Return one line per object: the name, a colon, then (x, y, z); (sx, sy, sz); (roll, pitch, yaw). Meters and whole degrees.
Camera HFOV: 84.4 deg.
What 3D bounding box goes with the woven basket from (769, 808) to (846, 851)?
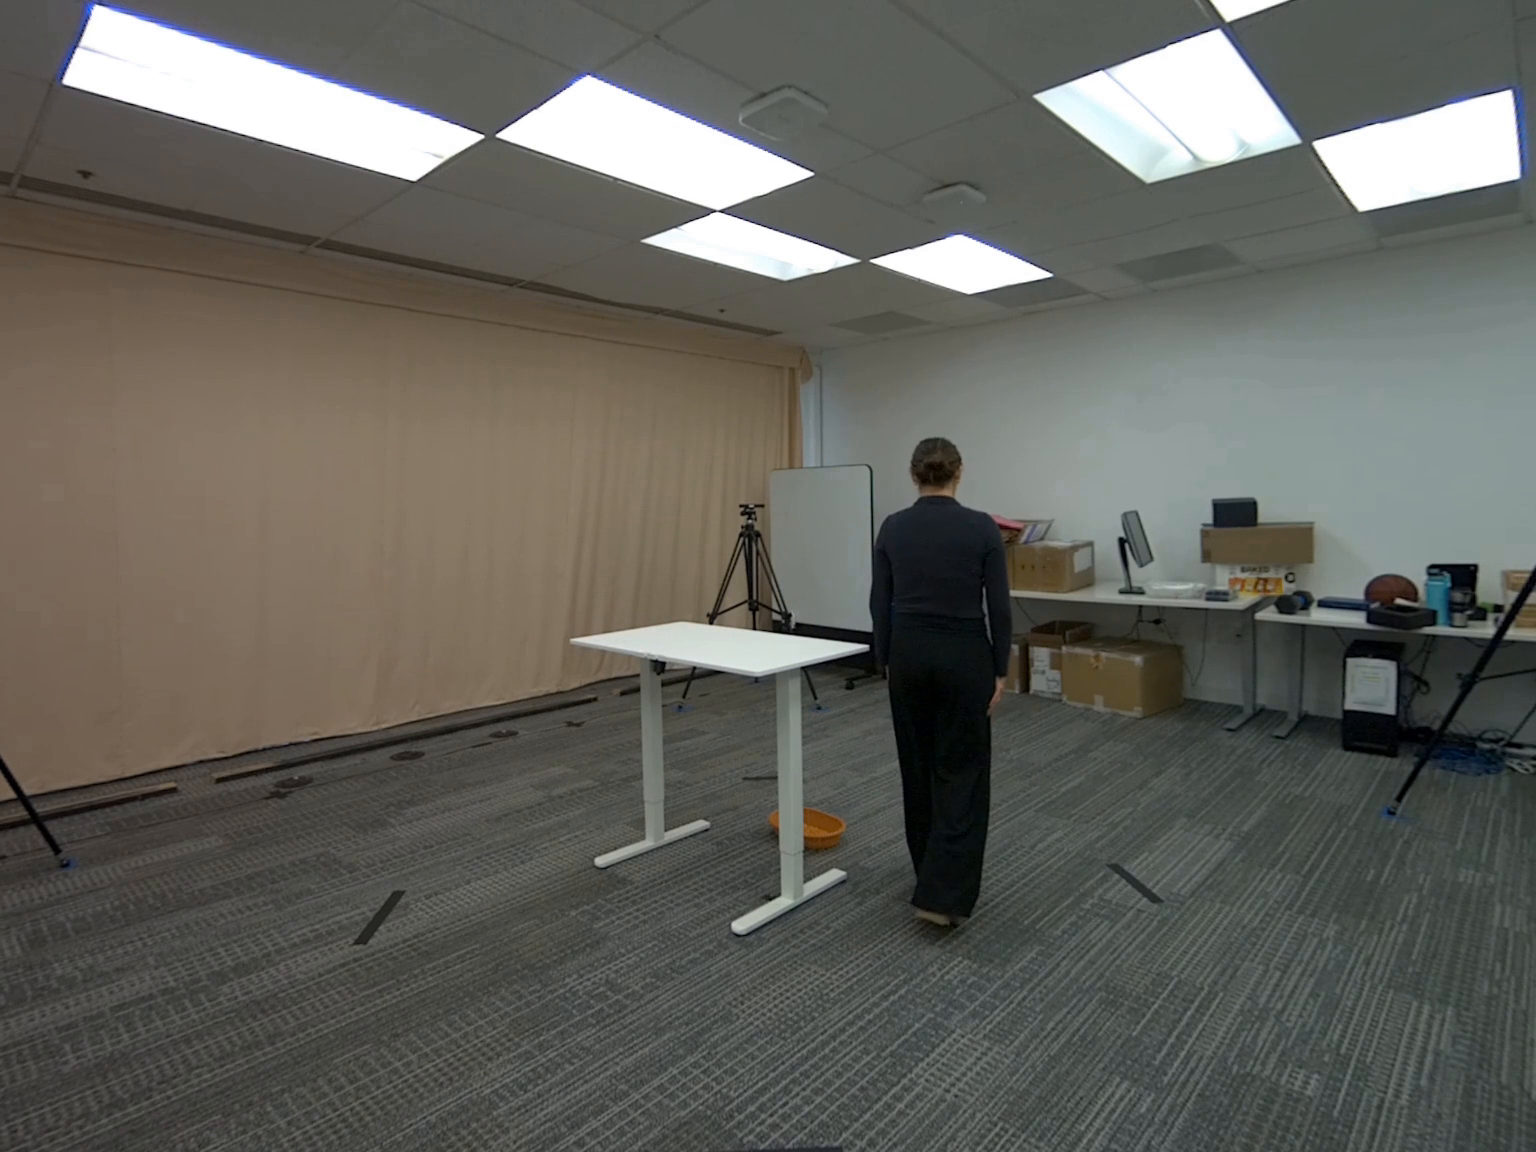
woven basket: (0.160, 1.044, 3.508); (0.245, 0.073, 0.362); (-6, 7, -43)
